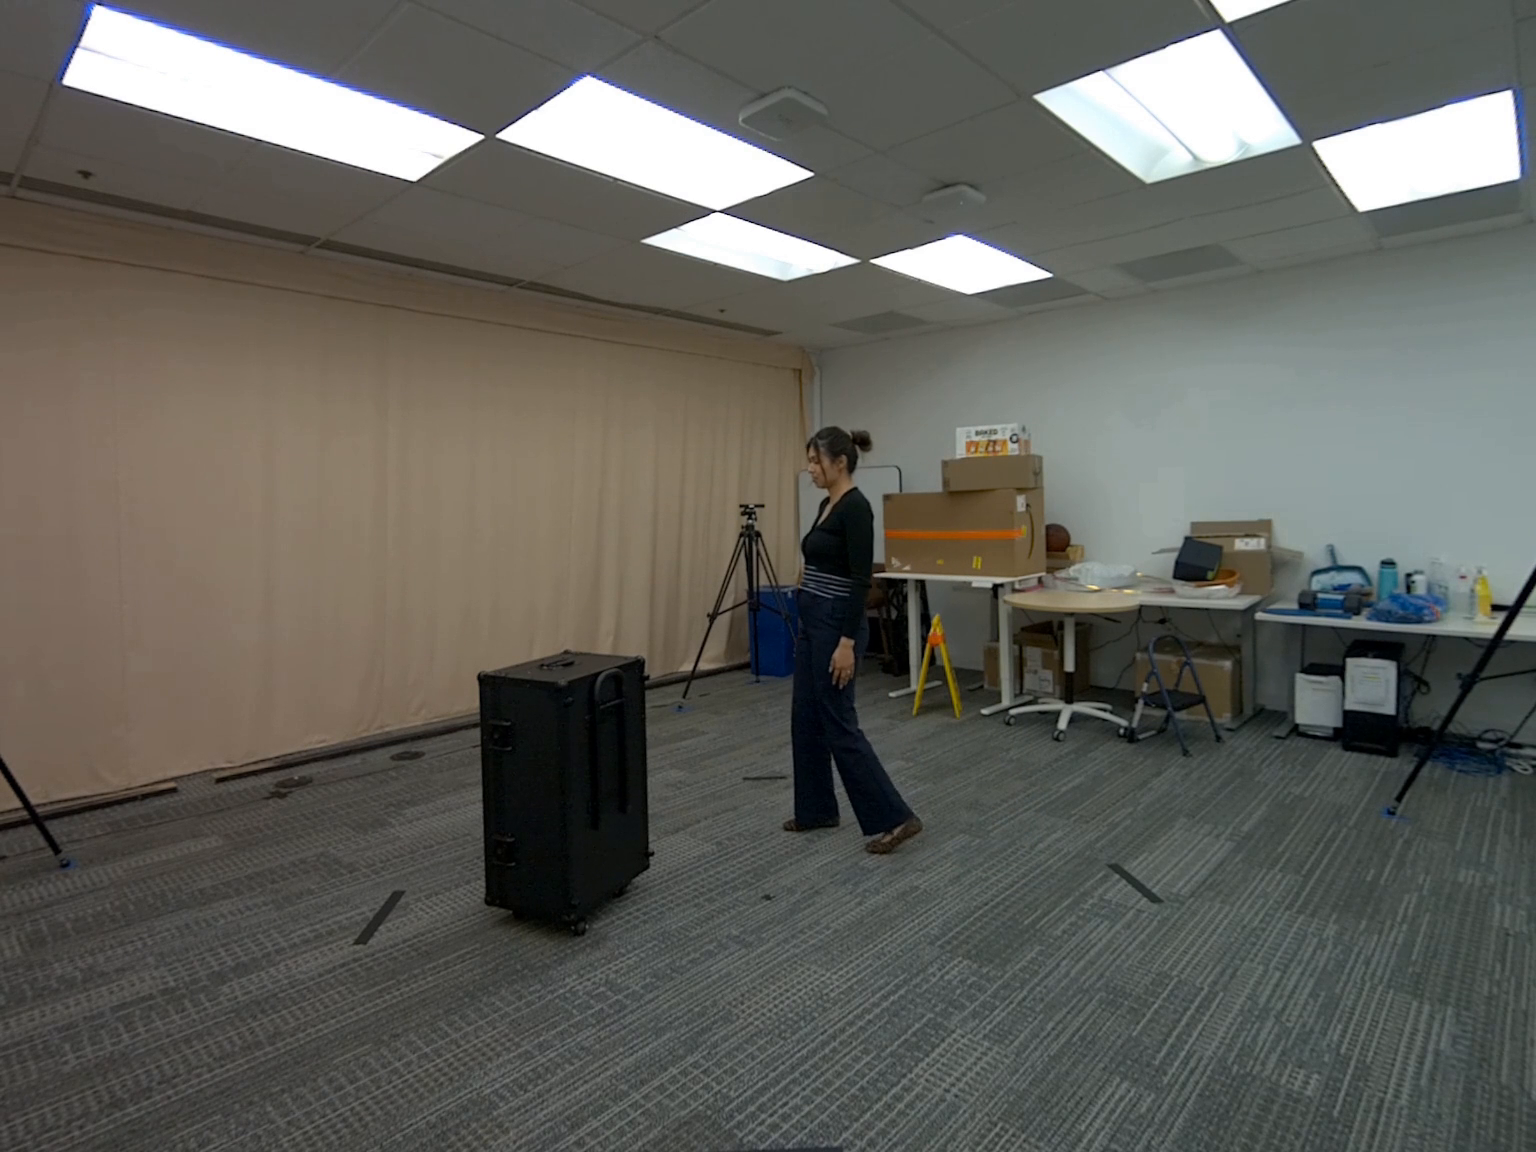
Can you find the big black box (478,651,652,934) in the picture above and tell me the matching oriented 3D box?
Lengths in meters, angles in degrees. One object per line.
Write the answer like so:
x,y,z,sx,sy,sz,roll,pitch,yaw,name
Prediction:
-0.684,0.733,2.941,0.407,0.860,0.509,1,4,25,big black box
